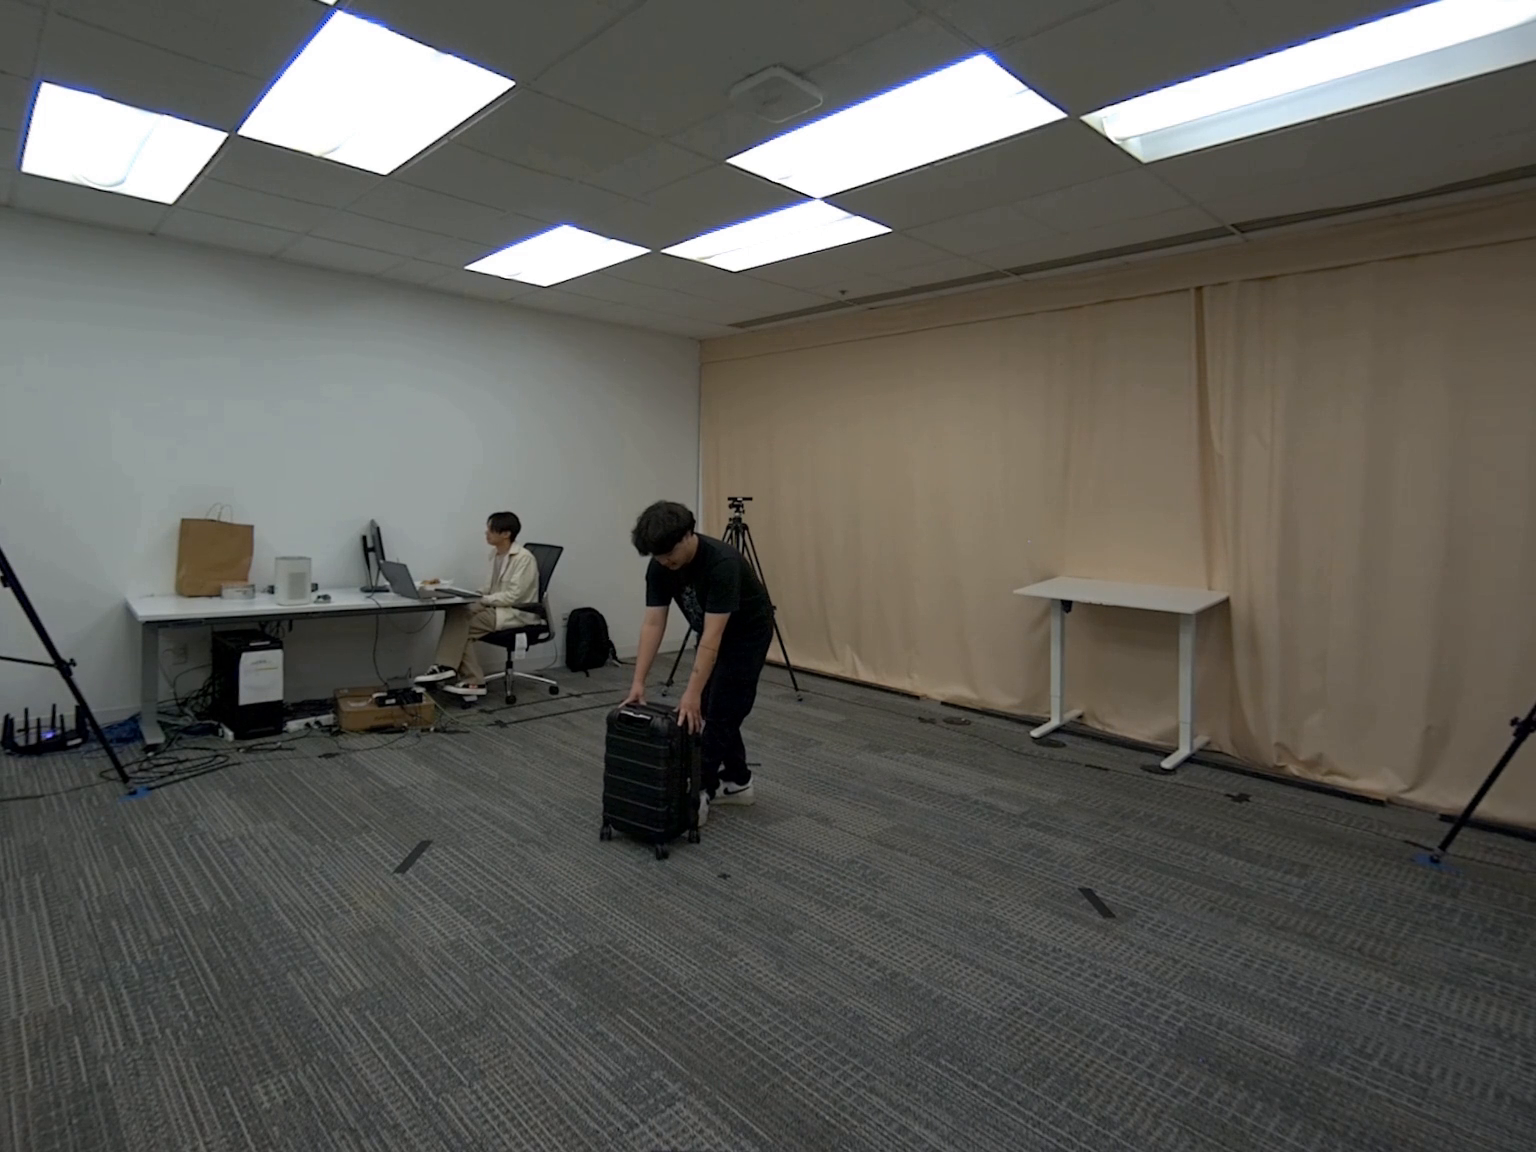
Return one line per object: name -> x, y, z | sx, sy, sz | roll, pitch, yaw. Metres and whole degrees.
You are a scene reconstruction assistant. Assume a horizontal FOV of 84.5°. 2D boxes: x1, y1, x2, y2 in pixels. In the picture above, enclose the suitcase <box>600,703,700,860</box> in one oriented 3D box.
suitcase -> -0.482, 0.800, 3.425 | 0.384, 0.549, 0.242 | 3, 1, 36
